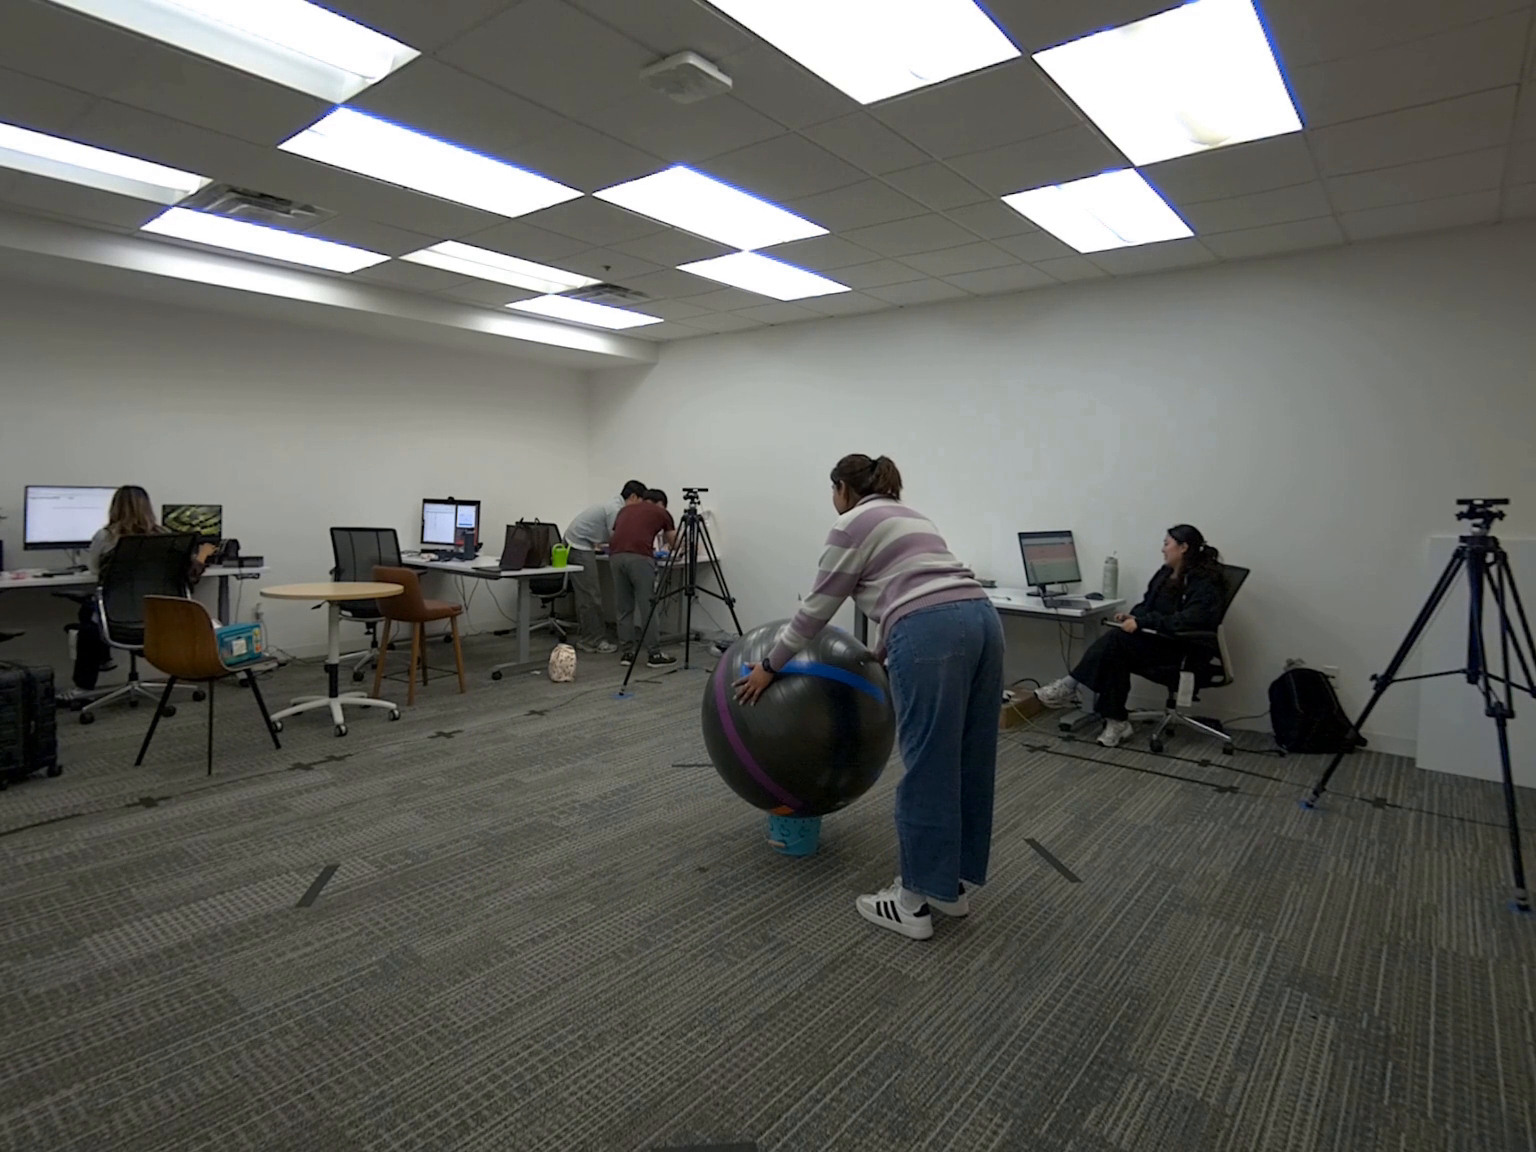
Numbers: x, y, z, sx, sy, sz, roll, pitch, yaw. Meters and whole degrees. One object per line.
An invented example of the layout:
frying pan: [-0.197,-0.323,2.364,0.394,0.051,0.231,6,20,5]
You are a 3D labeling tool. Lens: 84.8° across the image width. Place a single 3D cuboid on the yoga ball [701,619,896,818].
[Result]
yoga ball: [0.117,0.548,3.324,0.757,0.755,0.762,1,4,-2]
